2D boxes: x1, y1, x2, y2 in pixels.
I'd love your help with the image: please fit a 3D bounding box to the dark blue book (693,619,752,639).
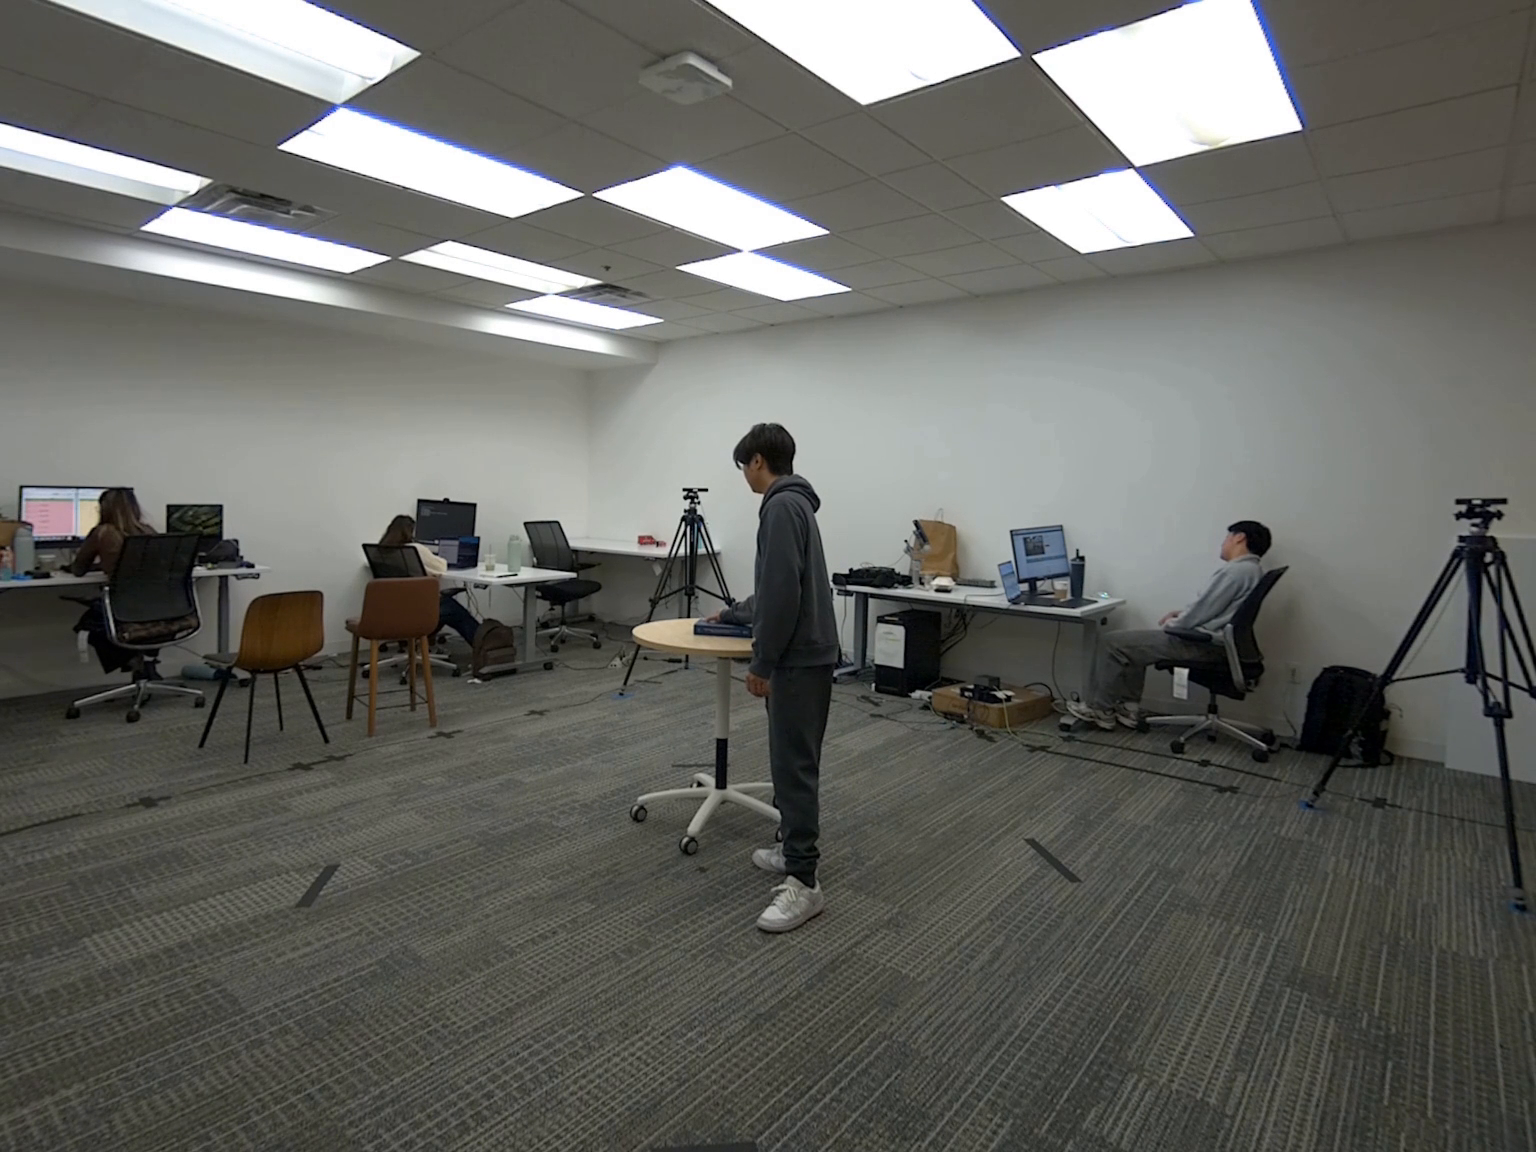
[{"bbox_3d":[-0.189,0.214,3.517,0.247,0.045,0.162,2,5,8],"label":"dark blue book"}]
